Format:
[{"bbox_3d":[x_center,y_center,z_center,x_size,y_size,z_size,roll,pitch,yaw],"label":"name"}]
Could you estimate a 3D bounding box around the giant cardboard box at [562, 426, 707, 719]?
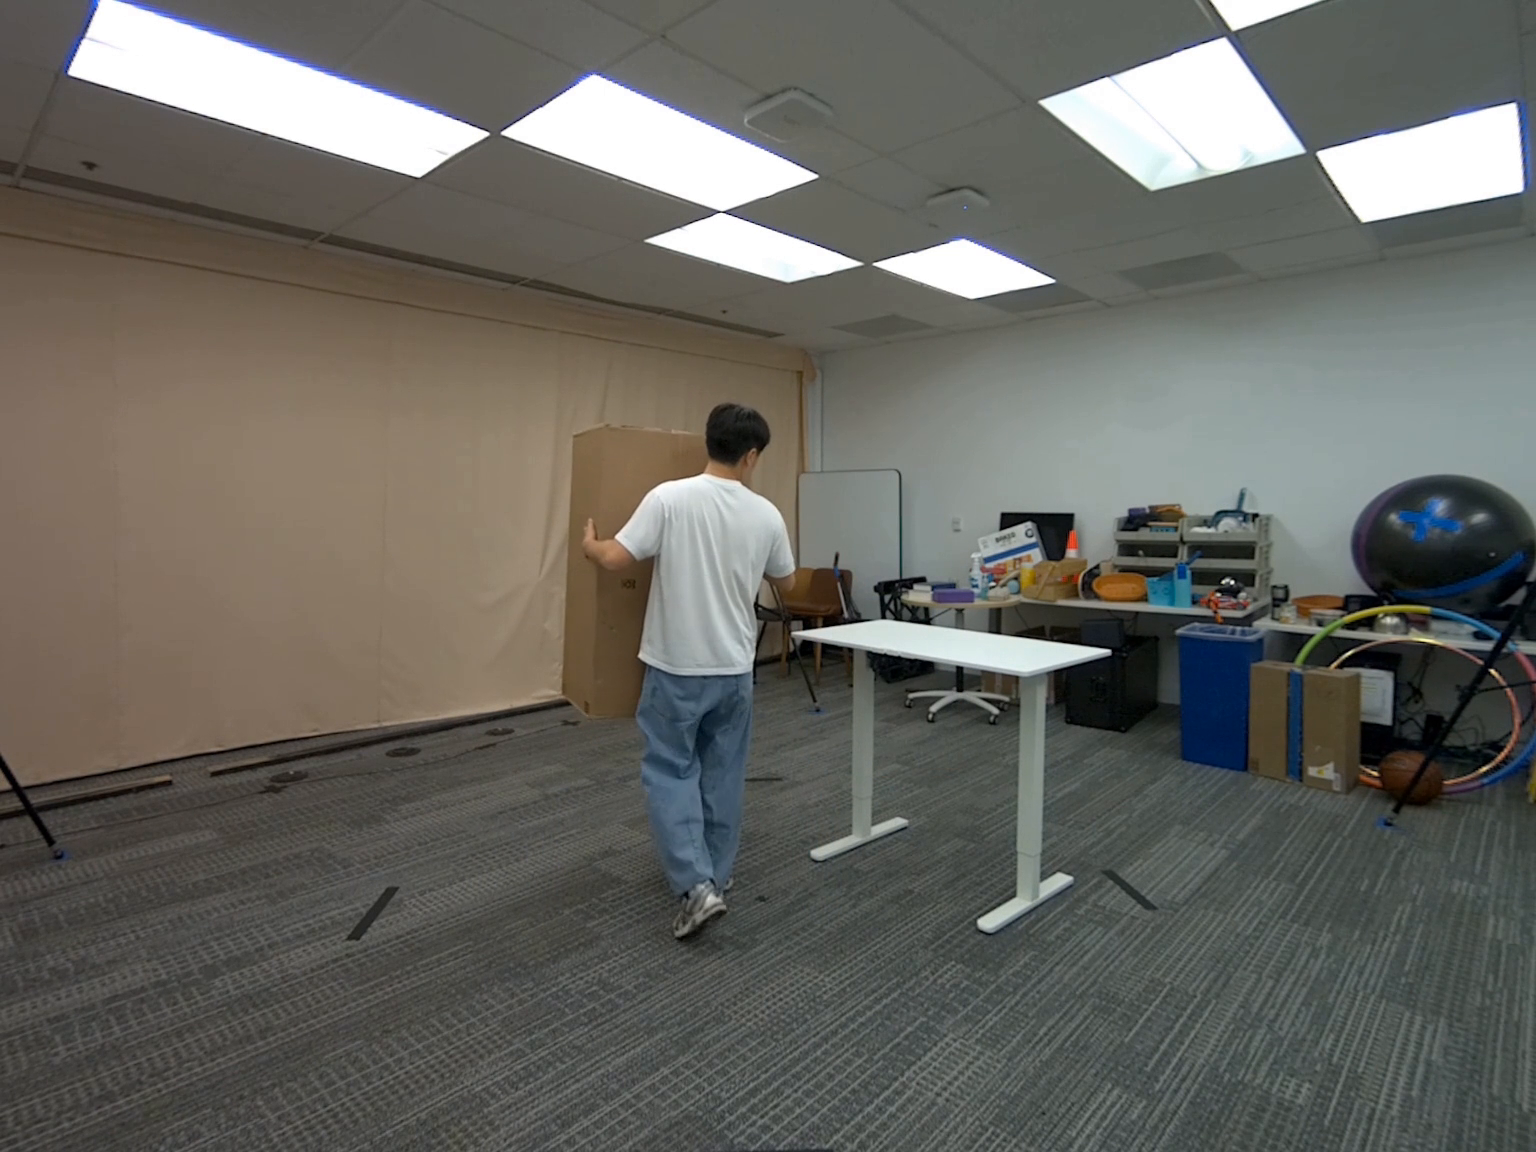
[{"bbox_3d":[-0.434,-0.018,3.193,0.564,1.025,0.437,2,2,-24],"label":"giant cardboard box"}]
